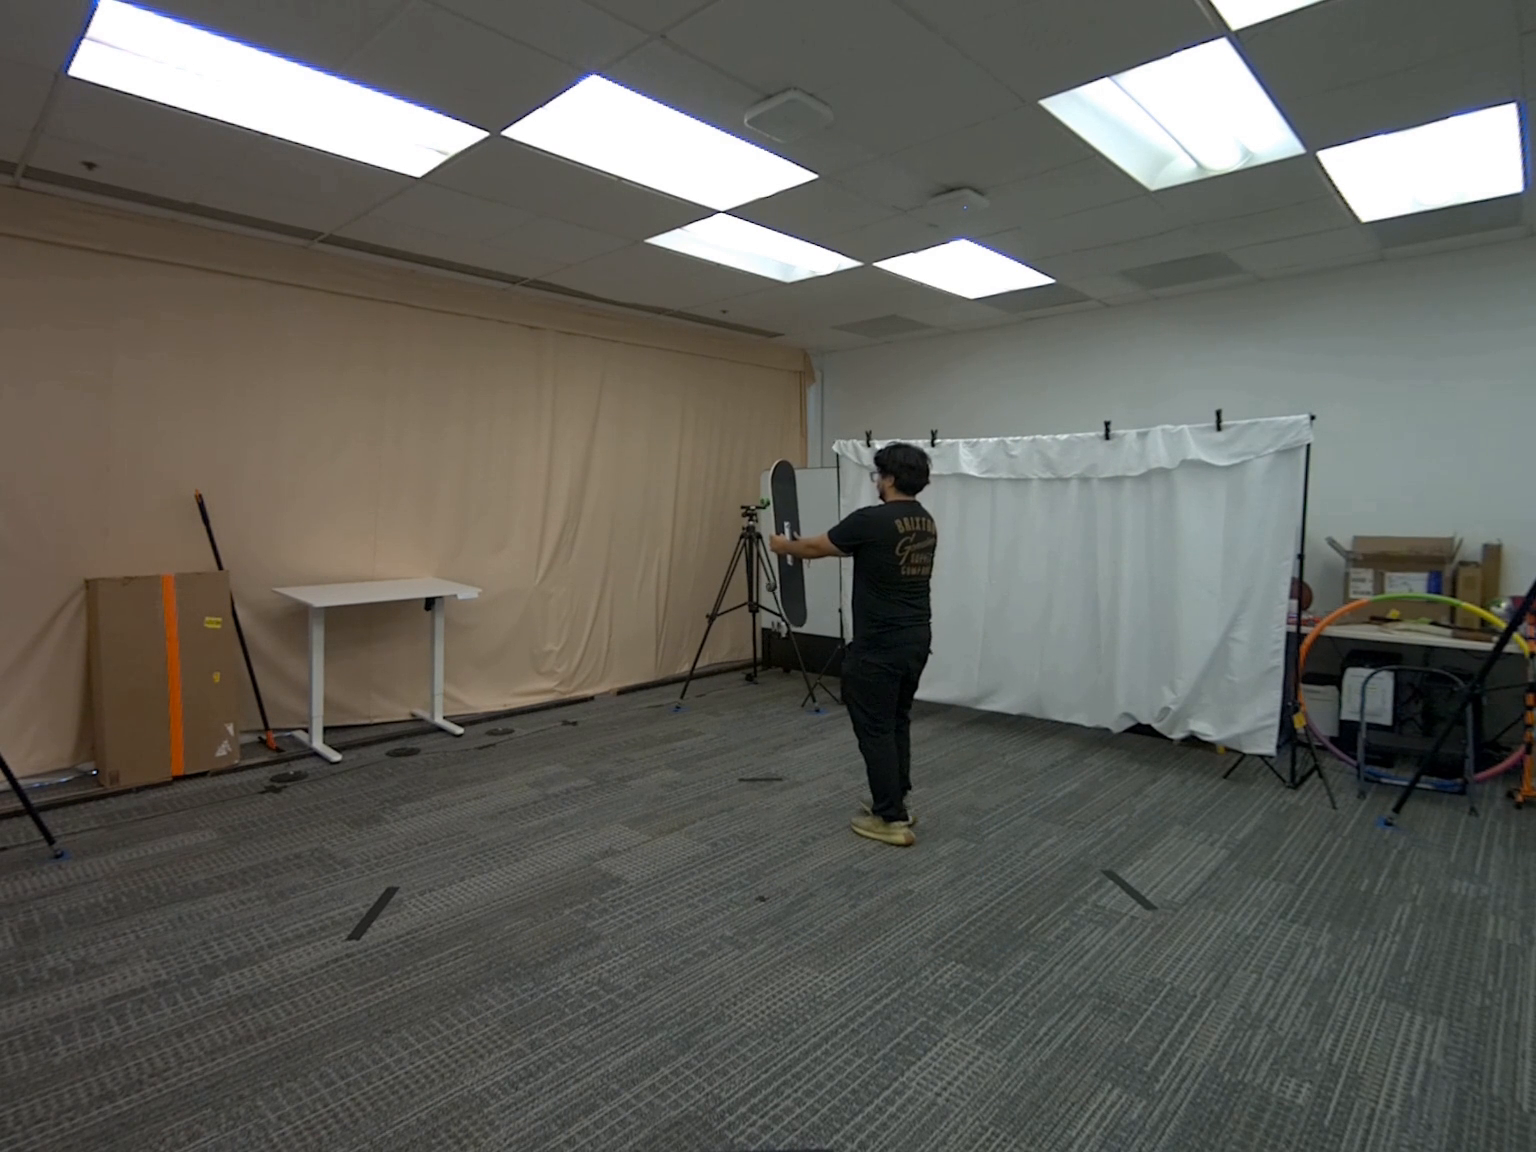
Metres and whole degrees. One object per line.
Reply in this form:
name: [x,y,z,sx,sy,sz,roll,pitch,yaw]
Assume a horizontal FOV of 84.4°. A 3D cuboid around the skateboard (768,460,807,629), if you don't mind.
skateboard: [0.075,-0.146,3.954,0.113,0.790,0.187,-12,-10,43]
